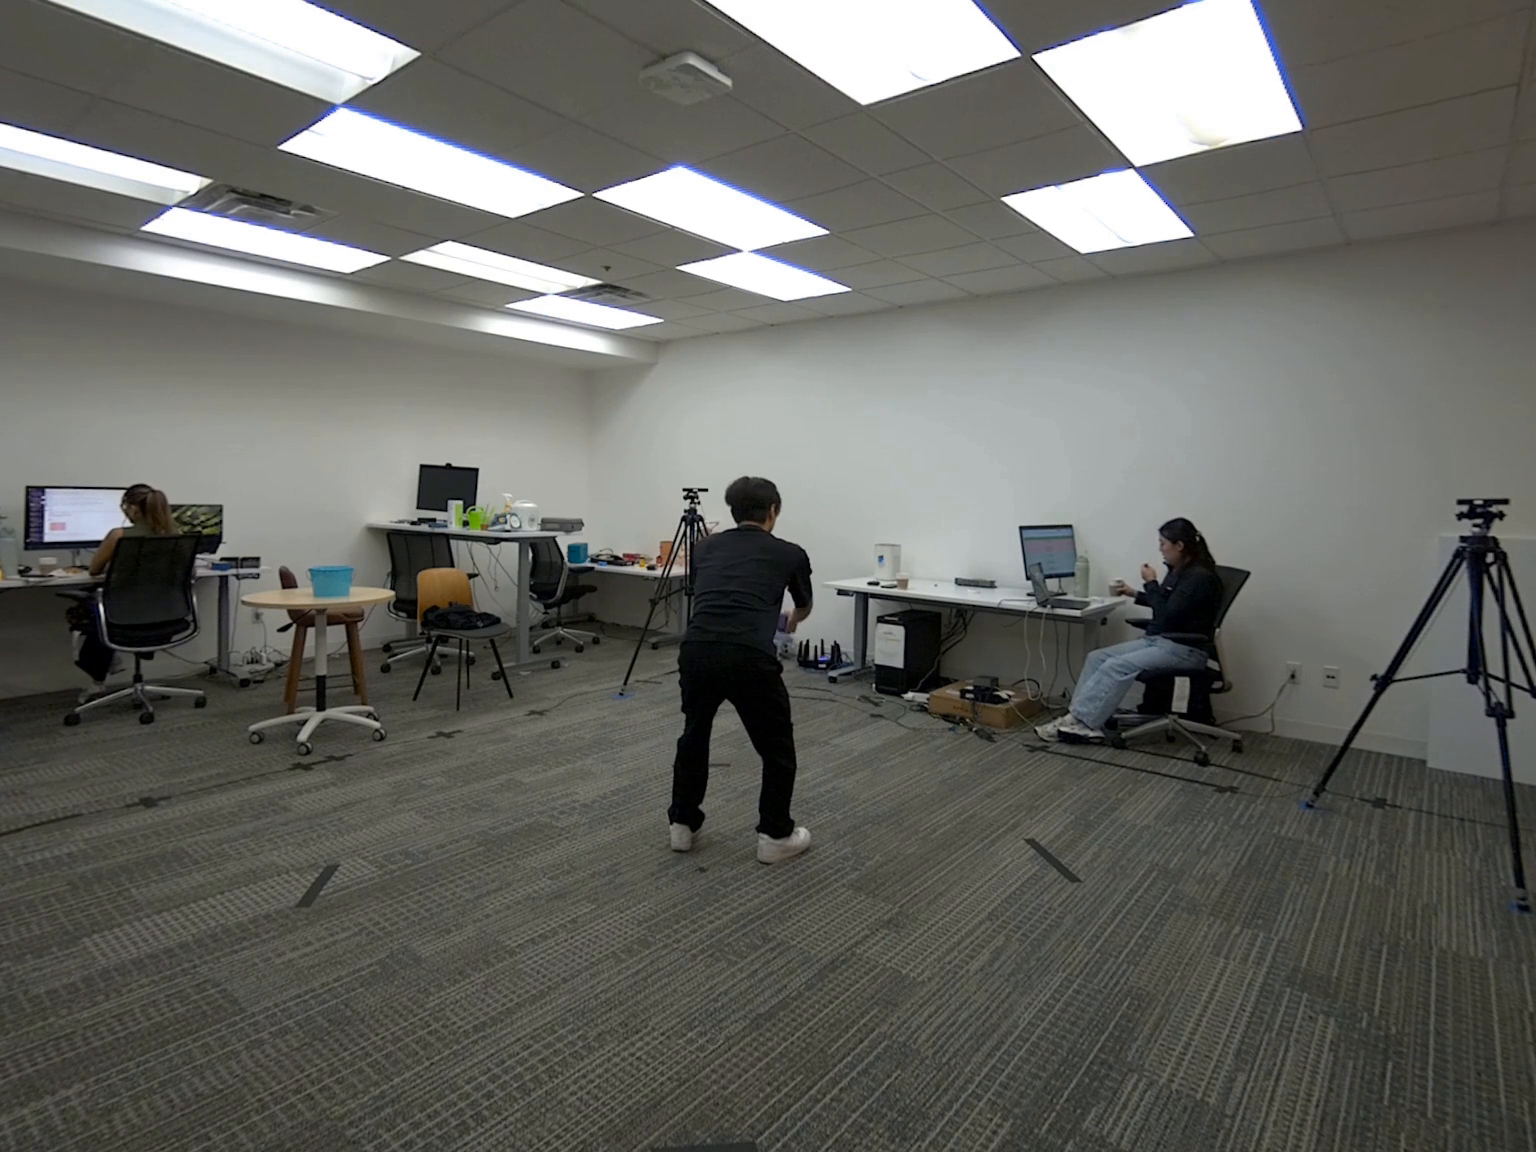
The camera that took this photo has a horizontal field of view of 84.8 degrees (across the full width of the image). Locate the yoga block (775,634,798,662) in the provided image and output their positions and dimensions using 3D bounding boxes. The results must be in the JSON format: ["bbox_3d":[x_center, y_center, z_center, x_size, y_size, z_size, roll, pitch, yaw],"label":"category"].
[{"bbox_3d":[0.031,0.319,3.823,0.152,0.076,0.226,9,6,13],"label":"yoga block"}]
